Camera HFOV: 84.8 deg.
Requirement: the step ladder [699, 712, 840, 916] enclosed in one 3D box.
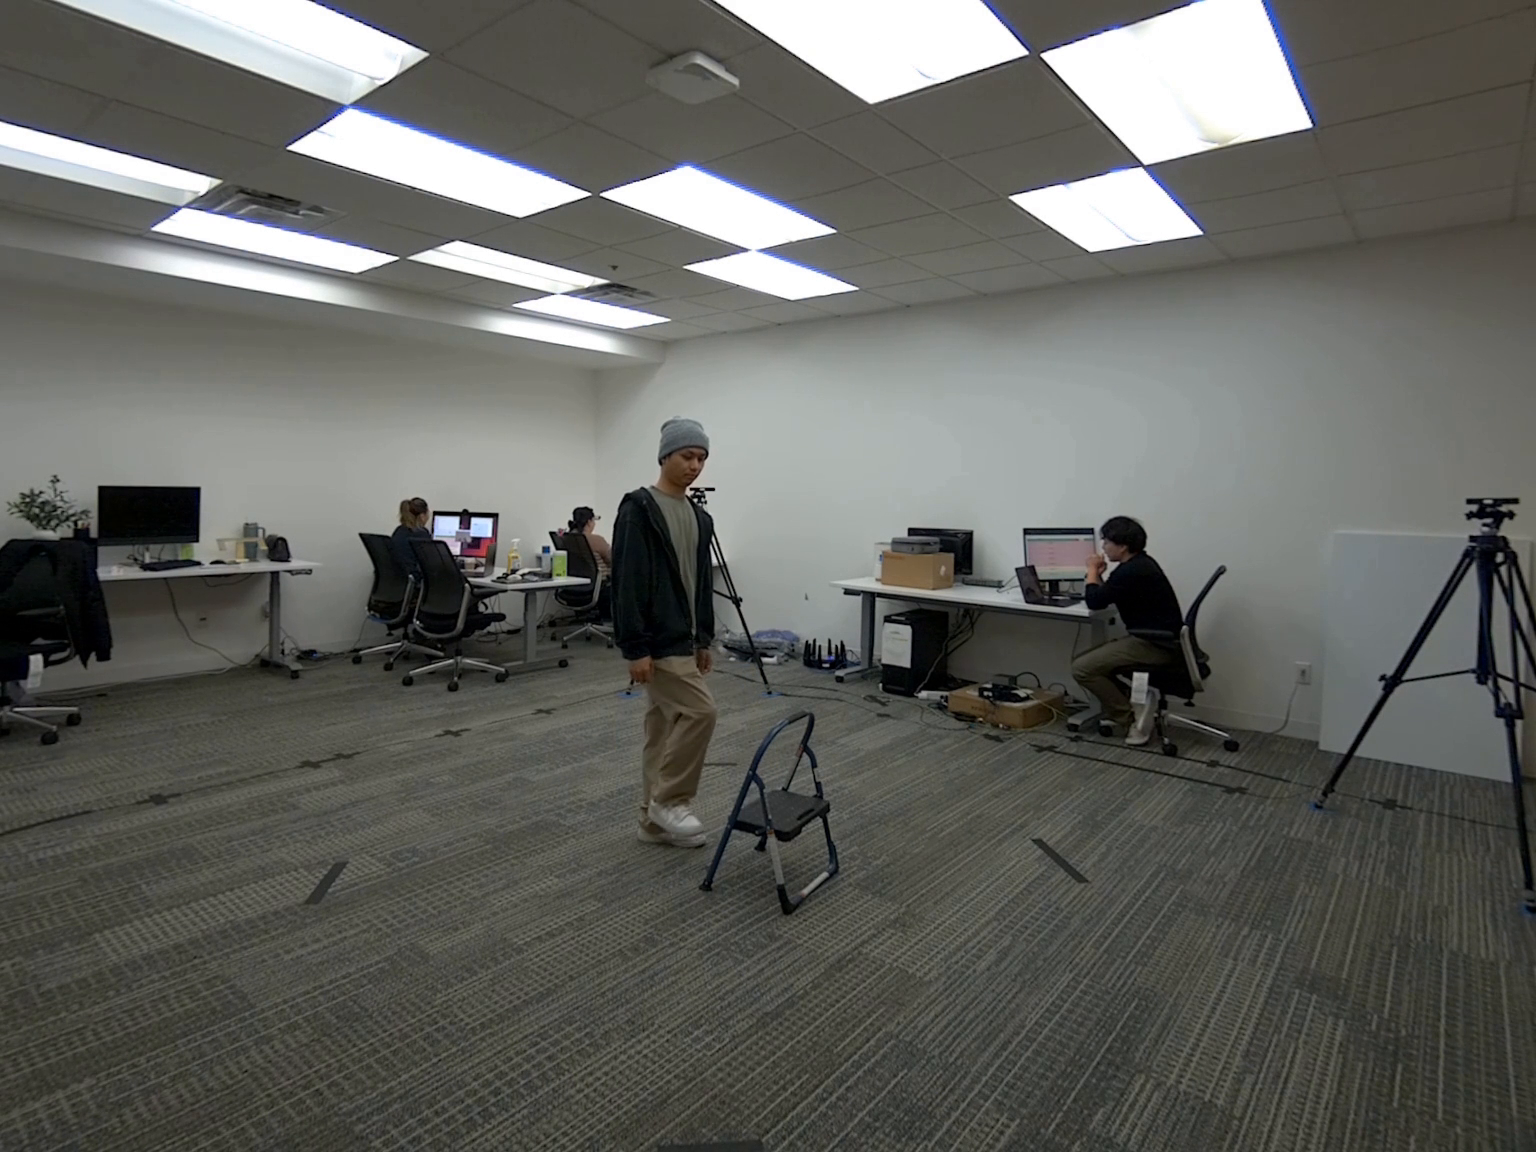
[{"bbox_3d":[0.016,0.778,3.016,0.359,0.604,0.419,3,4,29],"label":"step ladder"}]
